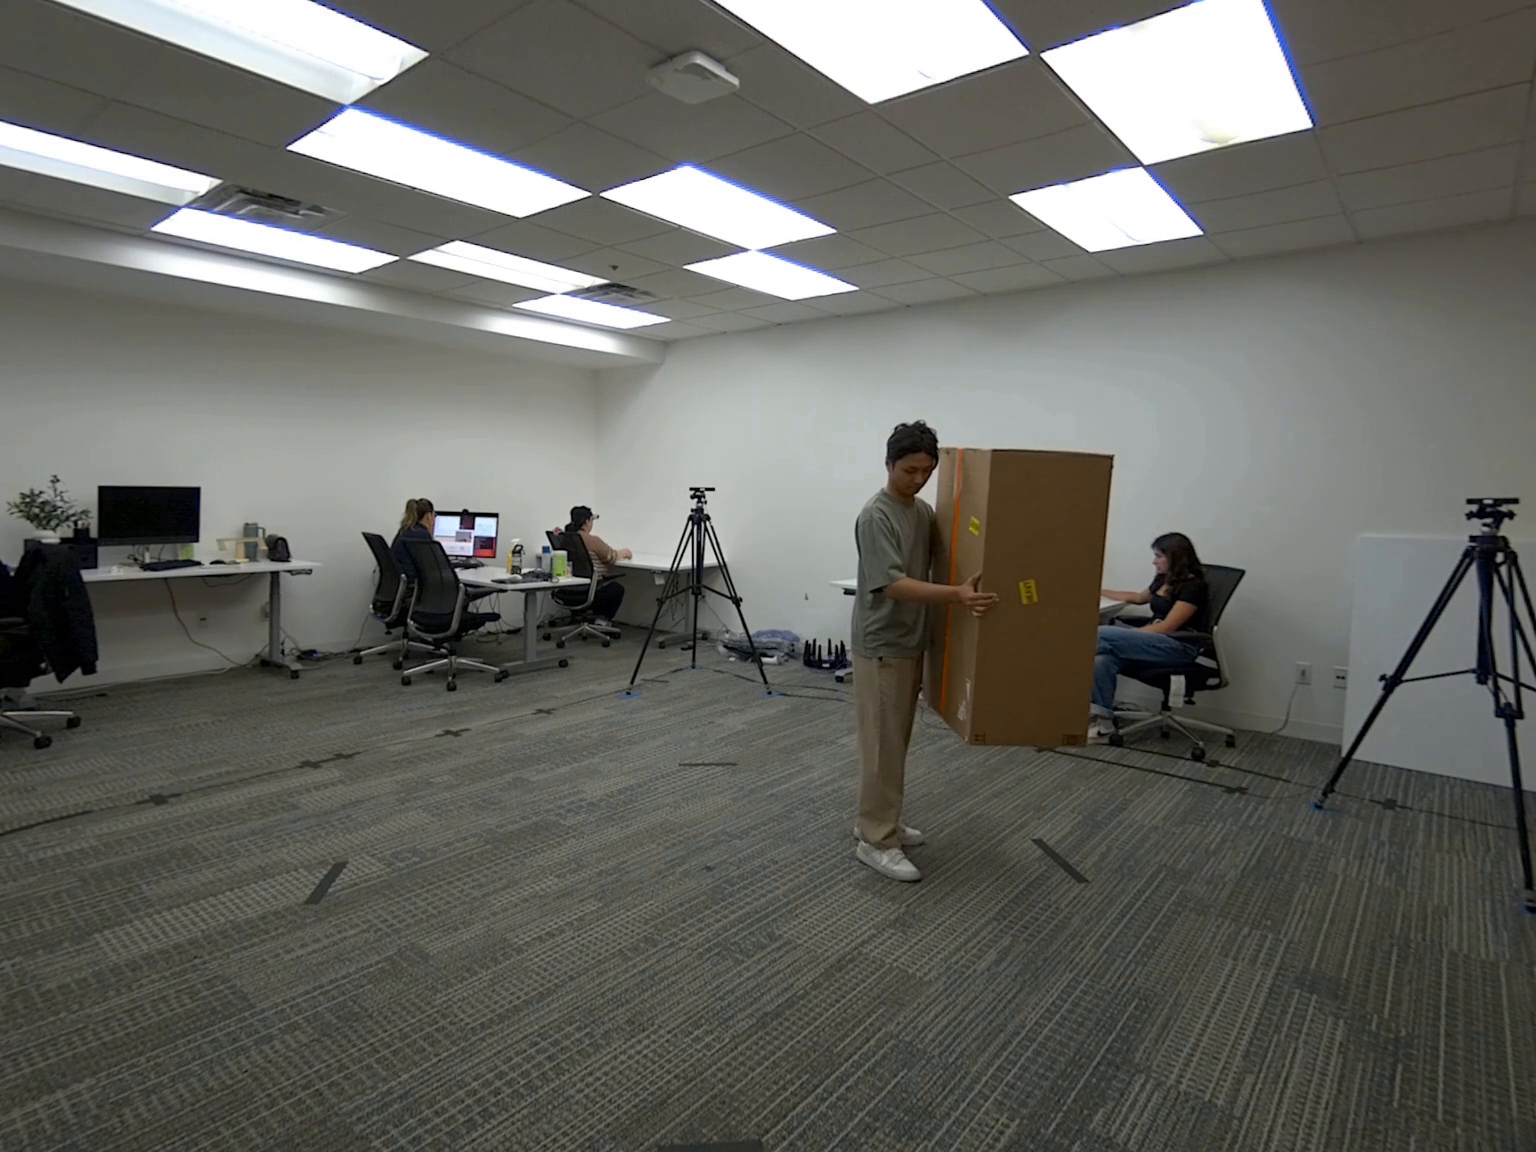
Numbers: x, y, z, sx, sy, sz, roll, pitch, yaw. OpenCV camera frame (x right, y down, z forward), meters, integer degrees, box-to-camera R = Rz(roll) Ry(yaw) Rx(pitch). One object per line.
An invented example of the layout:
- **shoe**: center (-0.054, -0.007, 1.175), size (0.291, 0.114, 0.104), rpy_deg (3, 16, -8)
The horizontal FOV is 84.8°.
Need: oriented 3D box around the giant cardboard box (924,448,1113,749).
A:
- **giant cardboard box**: center (0.888, 0.047, 3.183), size (0.423, 1.019, 0.585), rpy_deg (3, 7, -7)
